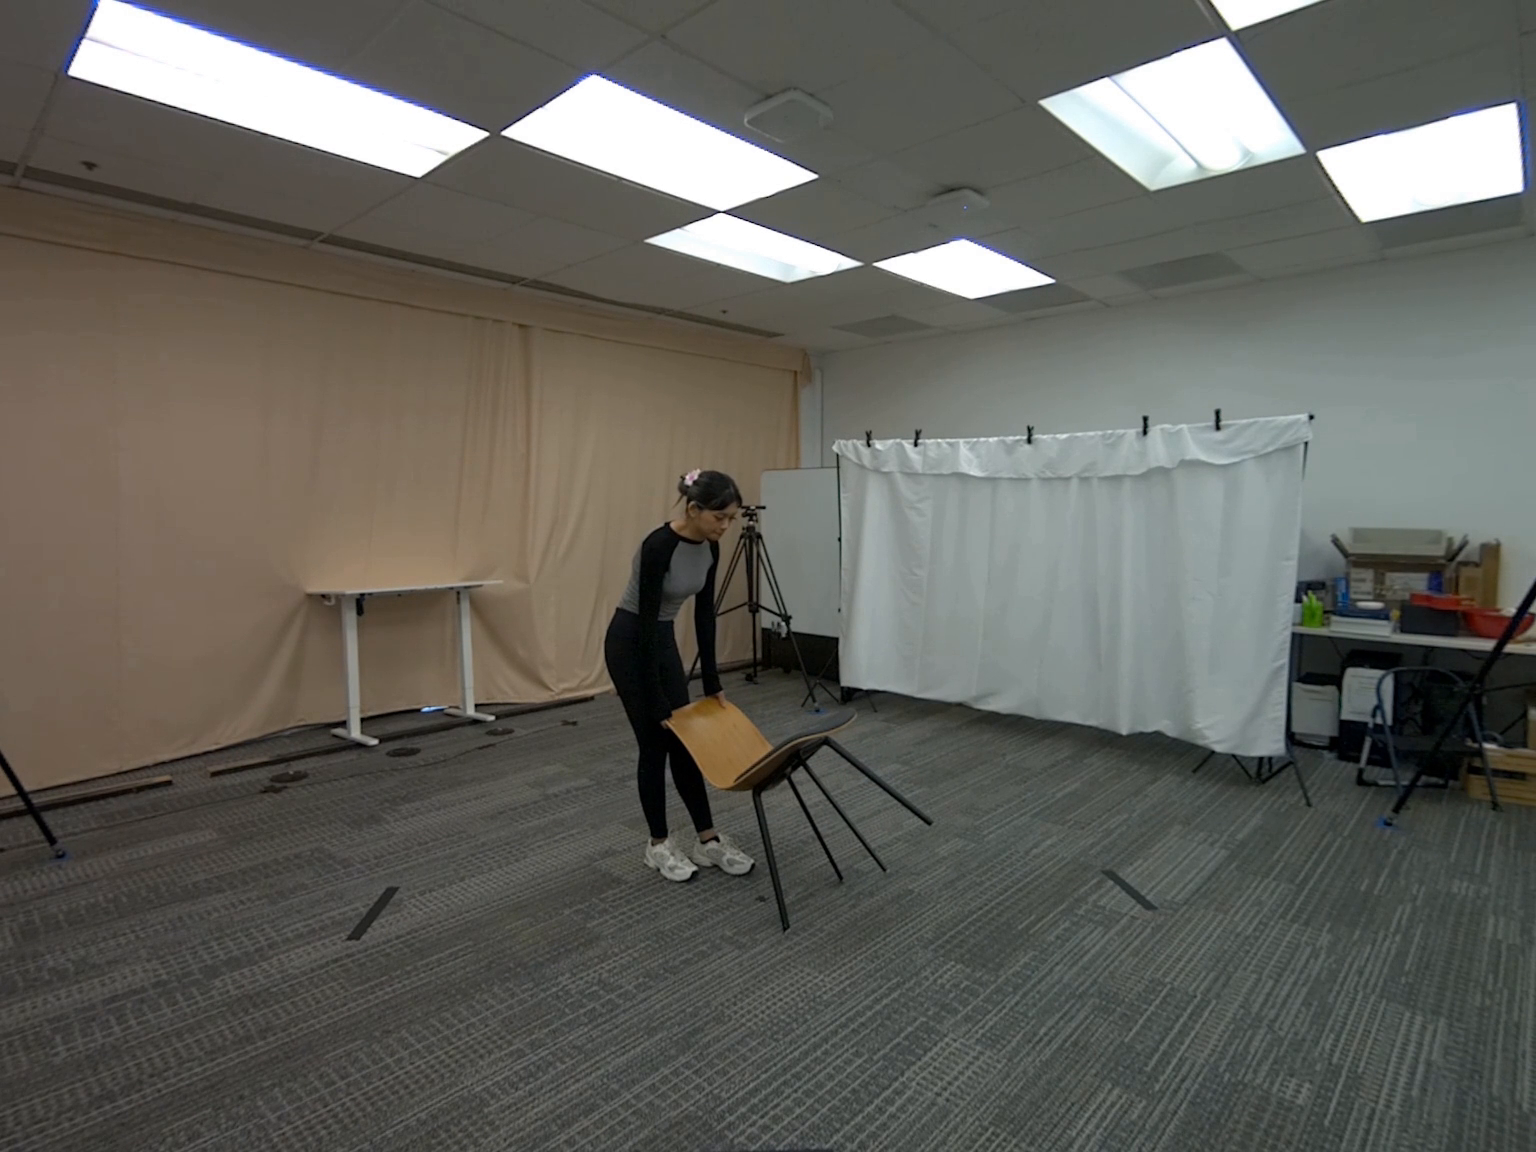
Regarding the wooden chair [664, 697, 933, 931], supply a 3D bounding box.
[{"bbox_3d":[0.088,0.668,2.955,0.526,0.897,0.465,-48,-21,25],"label":"wooden chair"}]
